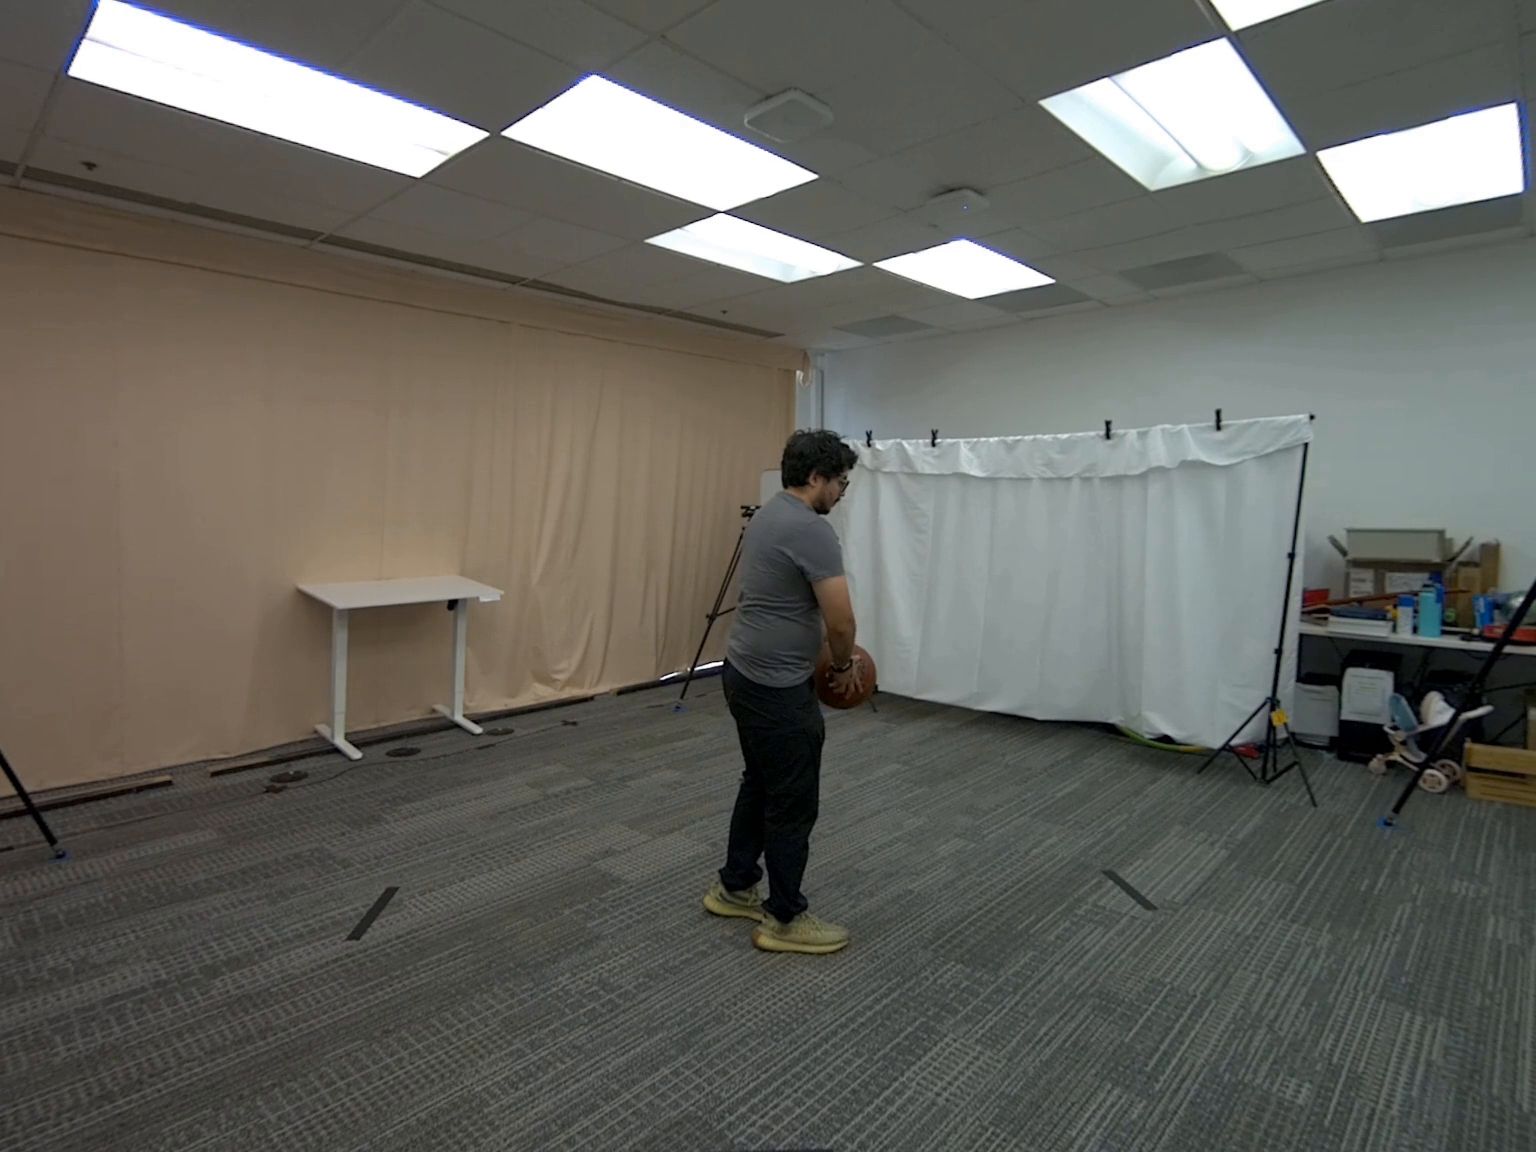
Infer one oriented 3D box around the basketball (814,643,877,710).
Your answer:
[{"bbox_3d":[0.270,0.344,2.965,0.236,0.235,0.237,0,4,-2],"label":"basketball"}]
